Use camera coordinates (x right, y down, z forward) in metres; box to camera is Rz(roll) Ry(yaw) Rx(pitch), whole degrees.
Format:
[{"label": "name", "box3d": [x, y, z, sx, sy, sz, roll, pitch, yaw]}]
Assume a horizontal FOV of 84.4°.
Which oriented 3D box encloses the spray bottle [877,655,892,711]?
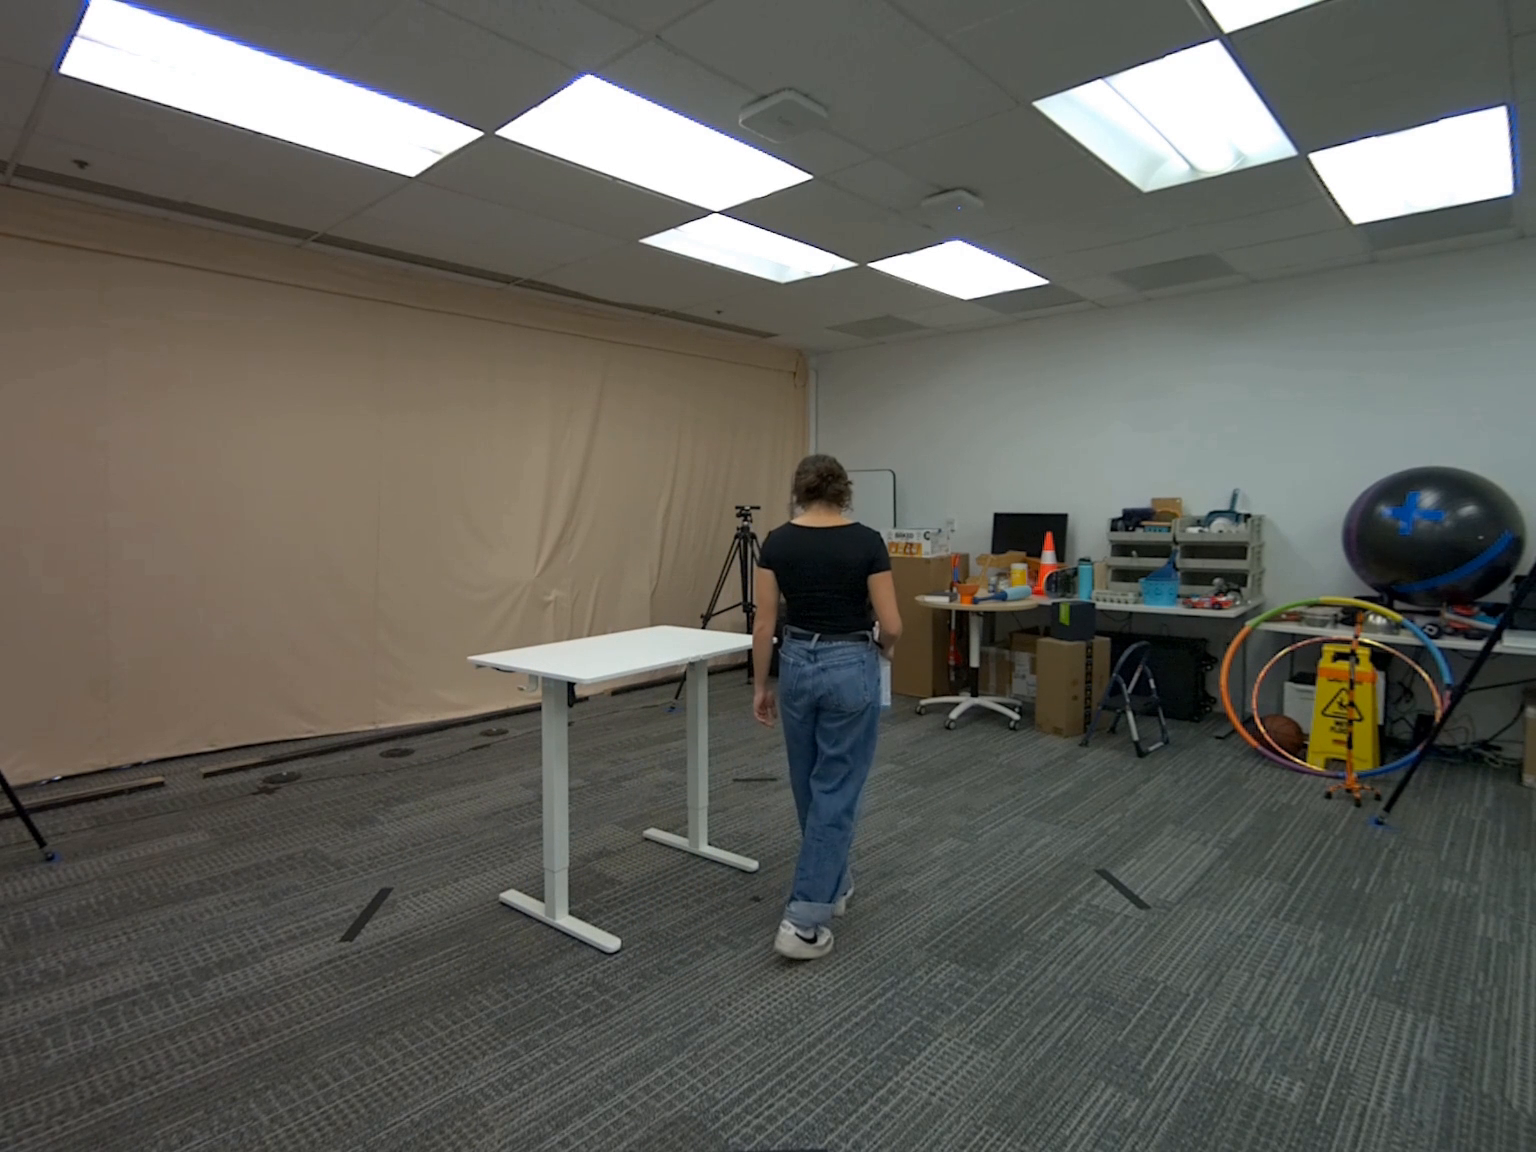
[{"label": "spray bottle", "box3d": [0.365, 0.306, 2.903, 0.089, 0.298, 0.087, -5, -6, 31]}]
